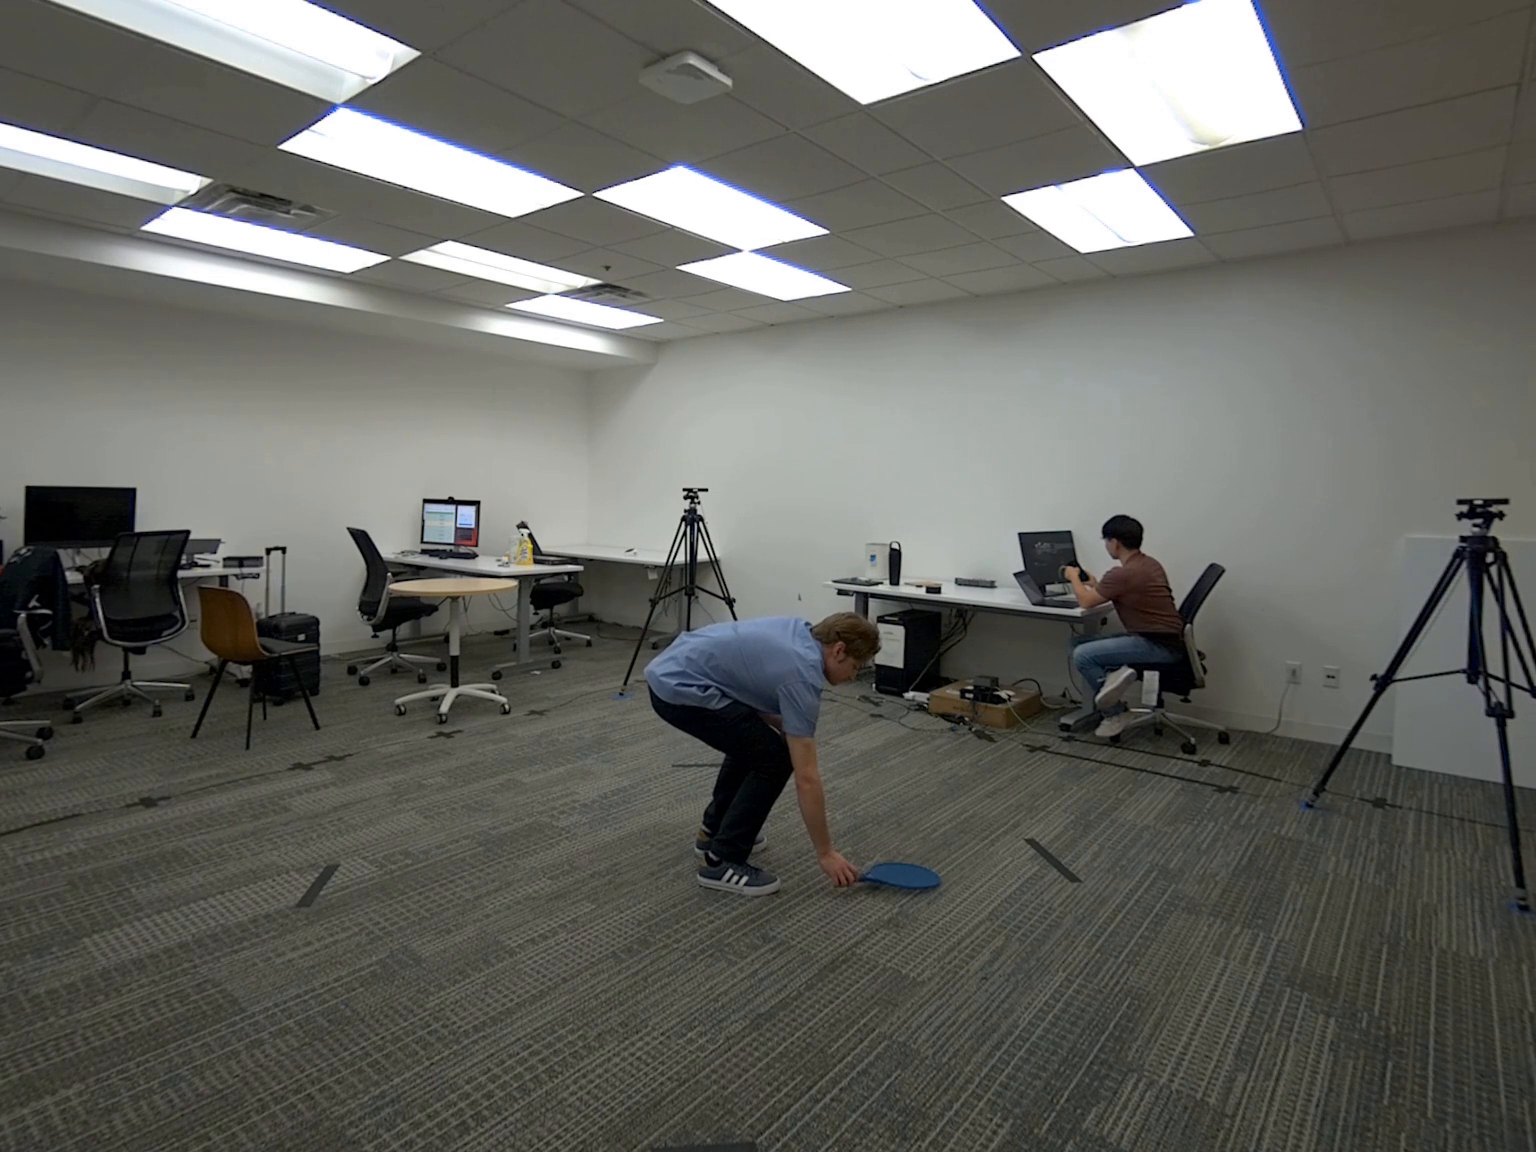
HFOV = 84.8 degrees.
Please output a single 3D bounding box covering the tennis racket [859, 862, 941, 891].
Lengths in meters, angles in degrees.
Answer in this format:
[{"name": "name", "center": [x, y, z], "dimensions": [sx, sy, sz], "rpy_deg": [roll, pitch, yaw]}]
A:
[{"name": "tennis racket", "center": [0.417, 1.065, 3.009], "dimensions": [0.420, 0.032, 0.220], "rpy_deg": [4, 4, -32]}]
